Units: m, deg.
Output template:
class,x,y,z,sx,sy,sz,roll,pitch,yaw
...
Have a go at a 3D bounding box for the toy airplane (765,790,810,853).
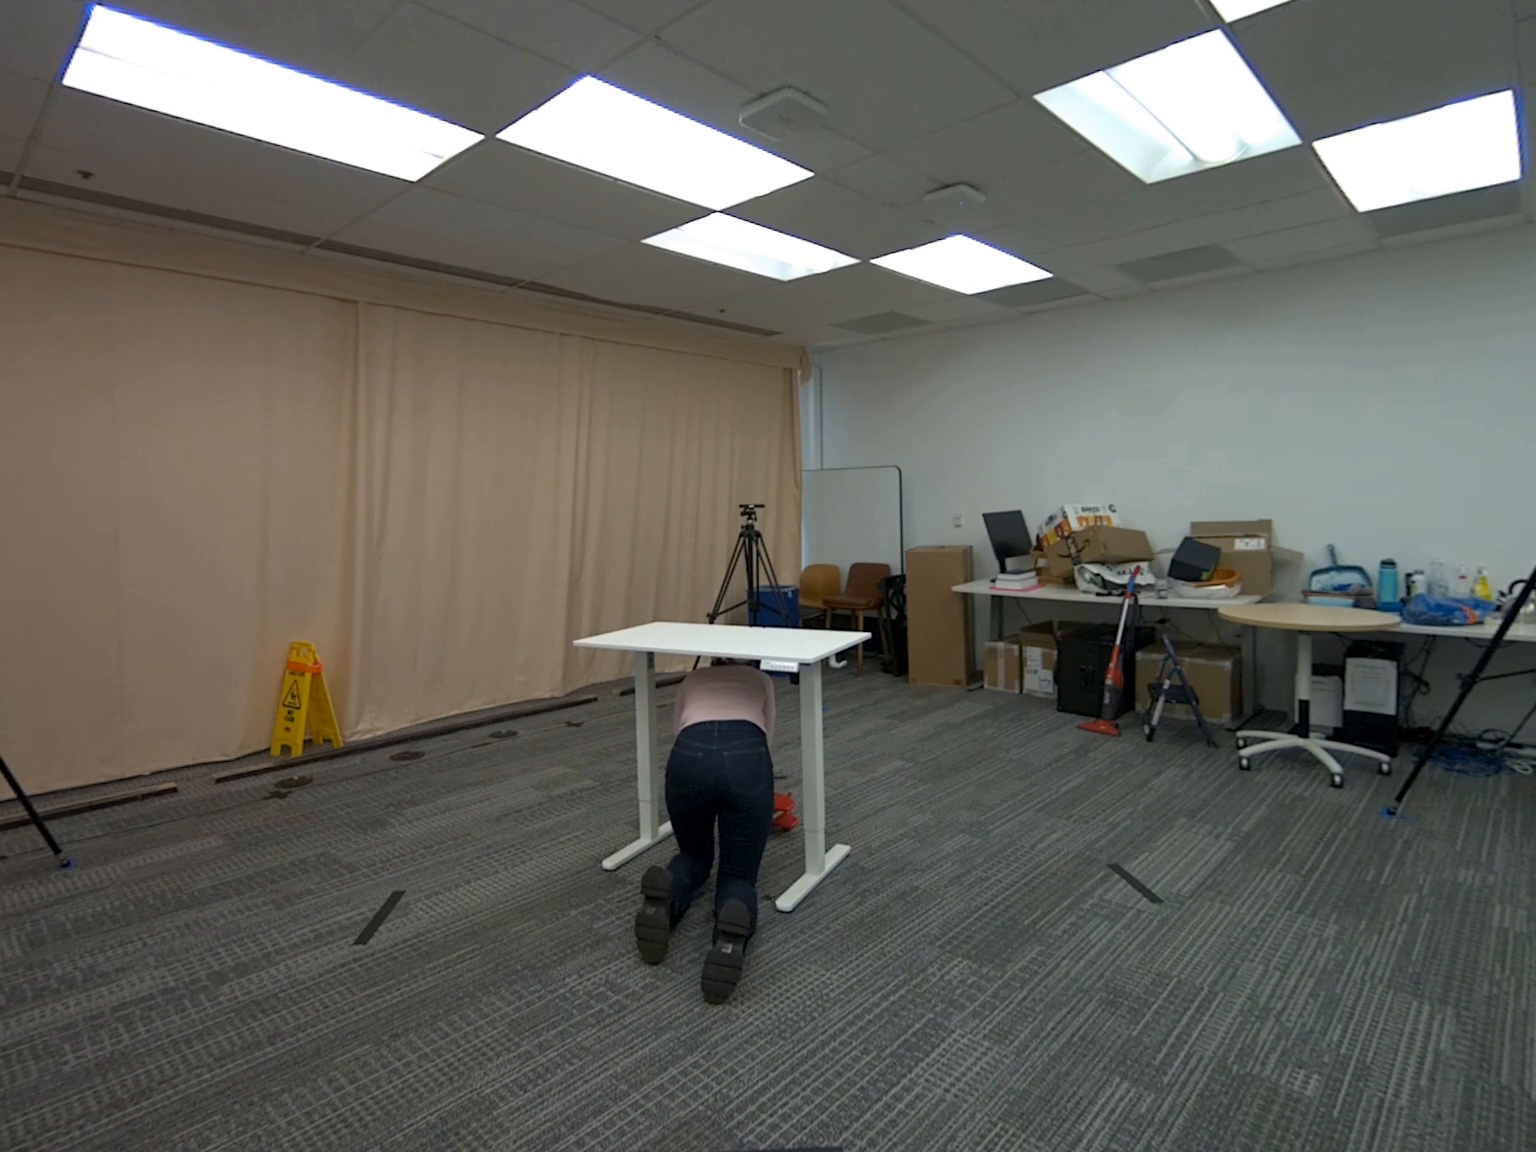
class,x,y,z,sx,sy,sz,roll,pitch,yaw
toy airplane,0.017,1.018,3.559,0.256,0.156,0.254,1,3,20
